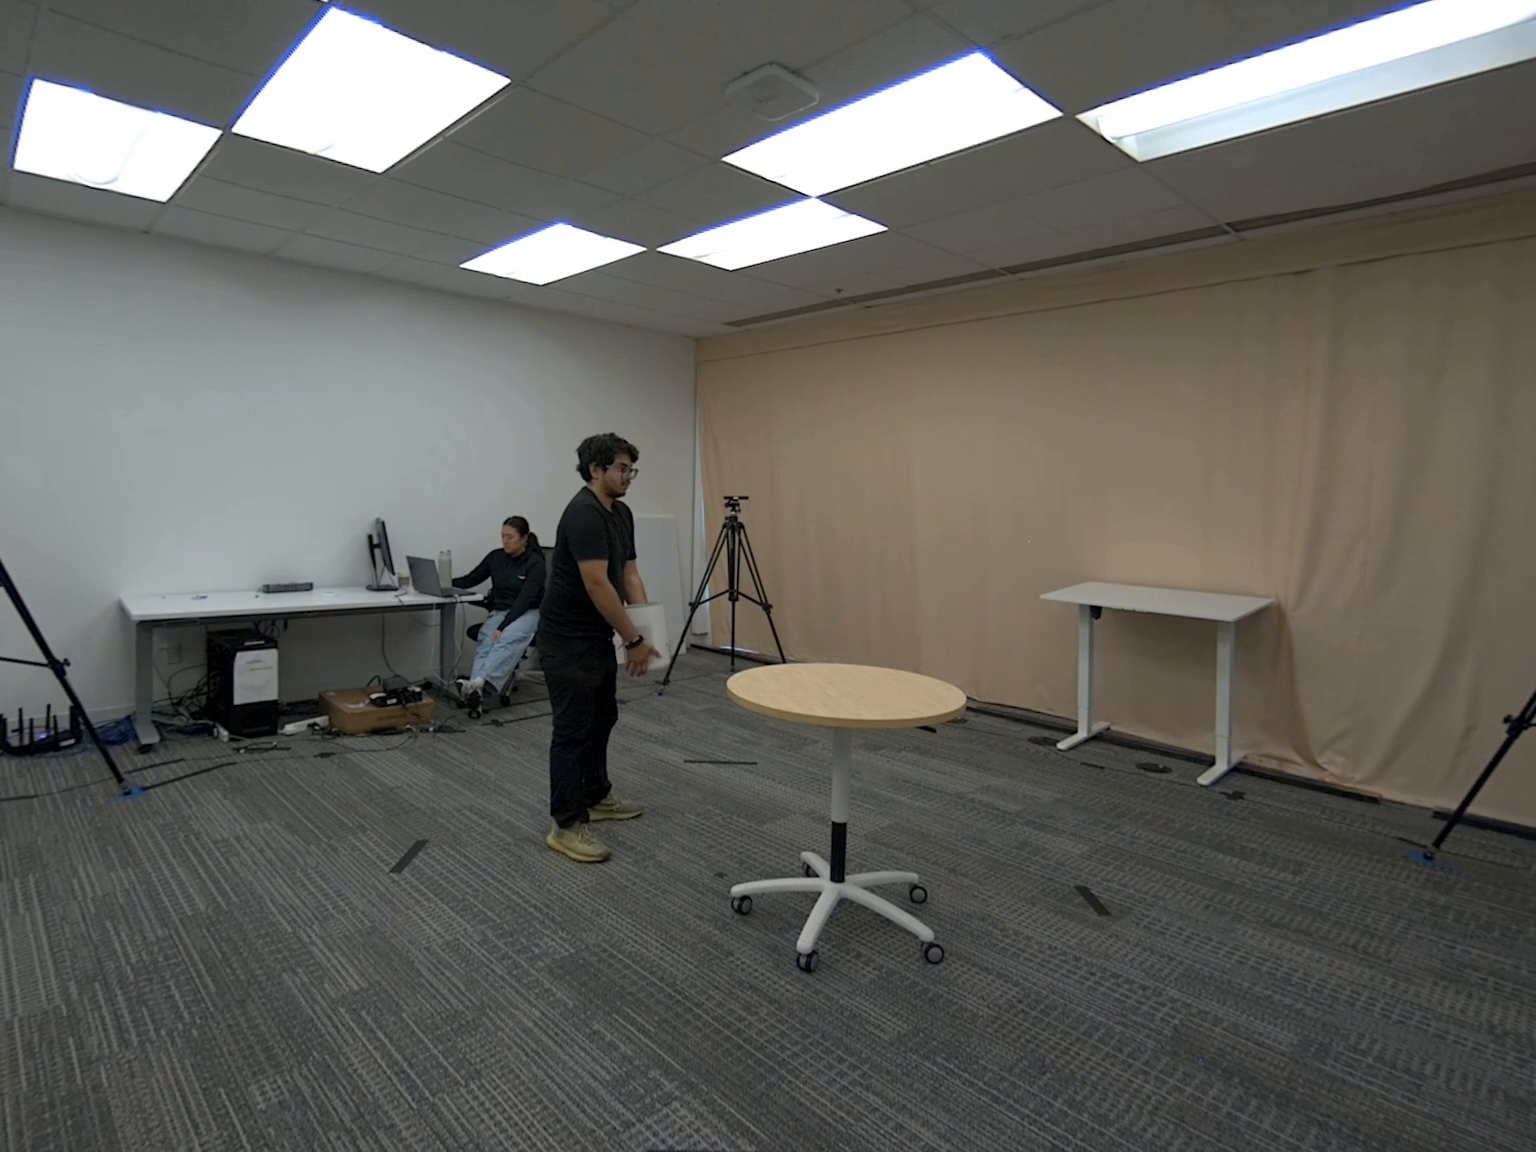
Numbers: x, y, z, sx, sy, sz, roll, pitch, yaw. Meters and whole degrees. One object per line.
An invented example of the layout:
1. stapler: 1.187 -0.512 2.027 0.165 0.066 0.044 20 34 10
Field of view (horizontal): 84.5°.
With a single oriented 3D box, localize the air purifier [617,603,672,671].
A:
1. air purifier: -0.507 0.248 3.352 0.175 0.262 0.167 -8 0 8
